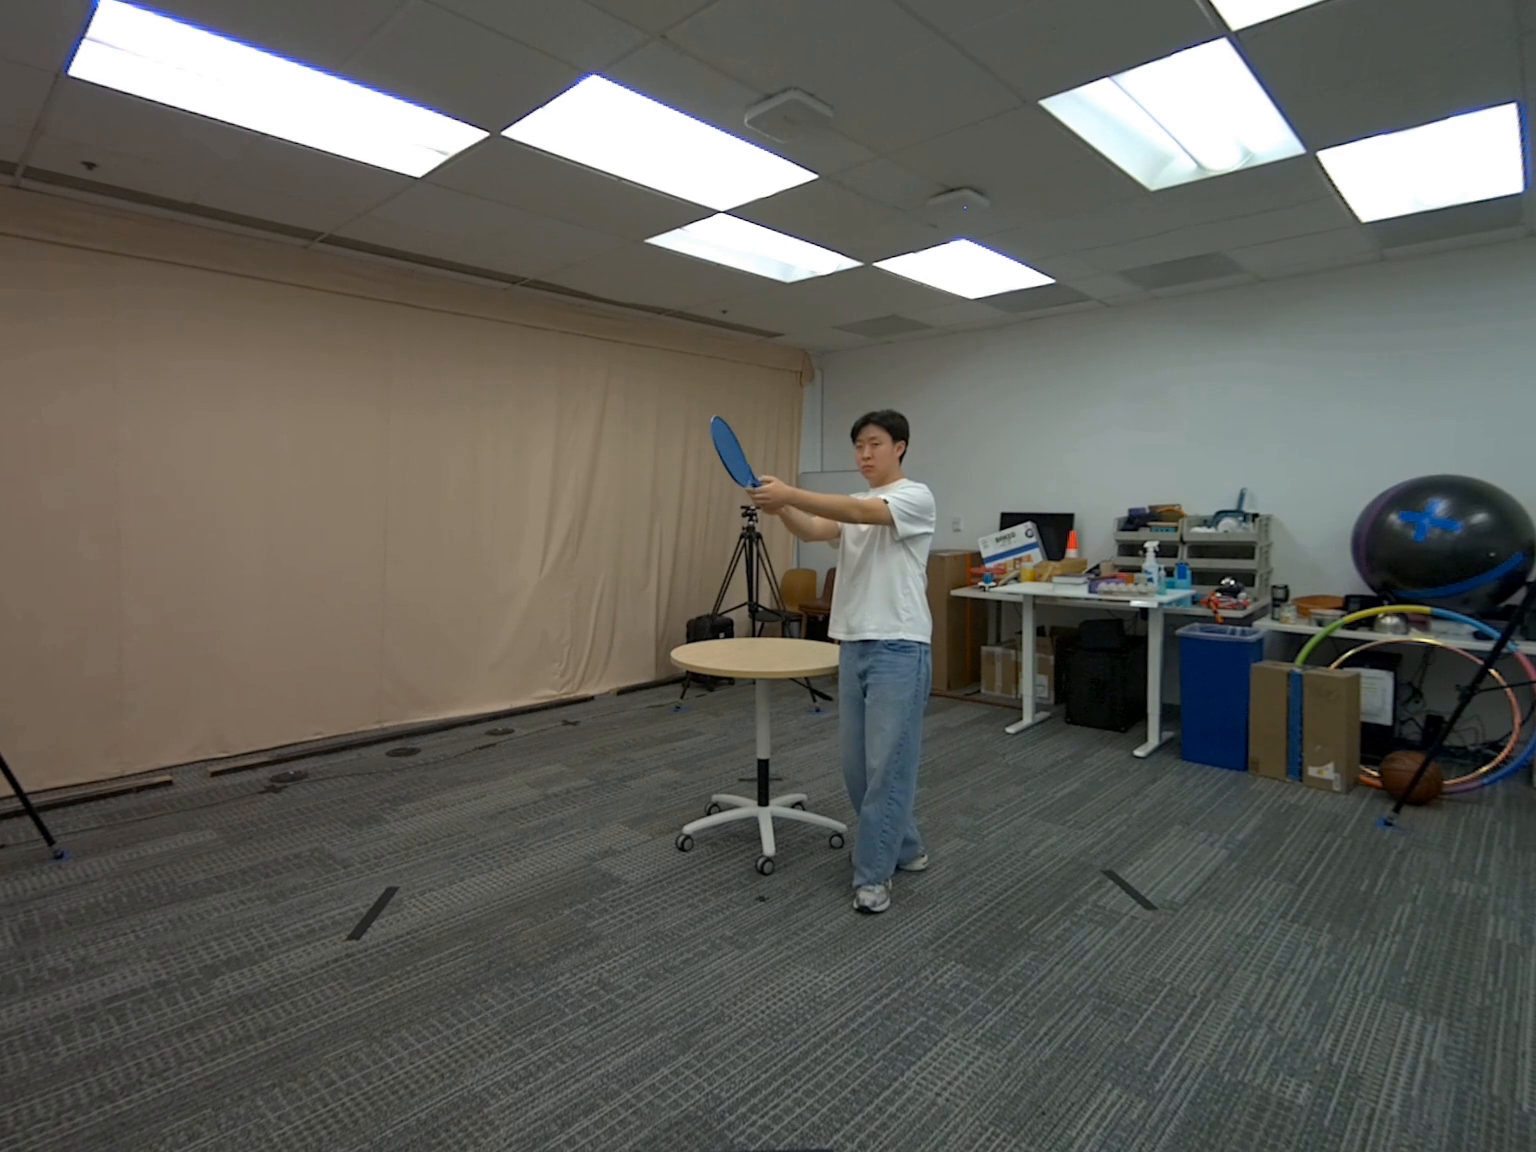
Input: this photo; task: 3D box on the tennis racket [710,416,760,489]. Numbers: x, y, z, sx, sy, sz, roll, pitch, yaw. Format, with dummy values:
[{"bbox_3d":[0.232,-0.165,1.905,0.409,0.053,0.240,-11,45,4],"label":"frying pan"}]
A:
[{"bbox_3d":[-0.083,-0.338,2.653,0.032,0.218,0.418,-16,-38,17],"label":"tennis racket"}]
